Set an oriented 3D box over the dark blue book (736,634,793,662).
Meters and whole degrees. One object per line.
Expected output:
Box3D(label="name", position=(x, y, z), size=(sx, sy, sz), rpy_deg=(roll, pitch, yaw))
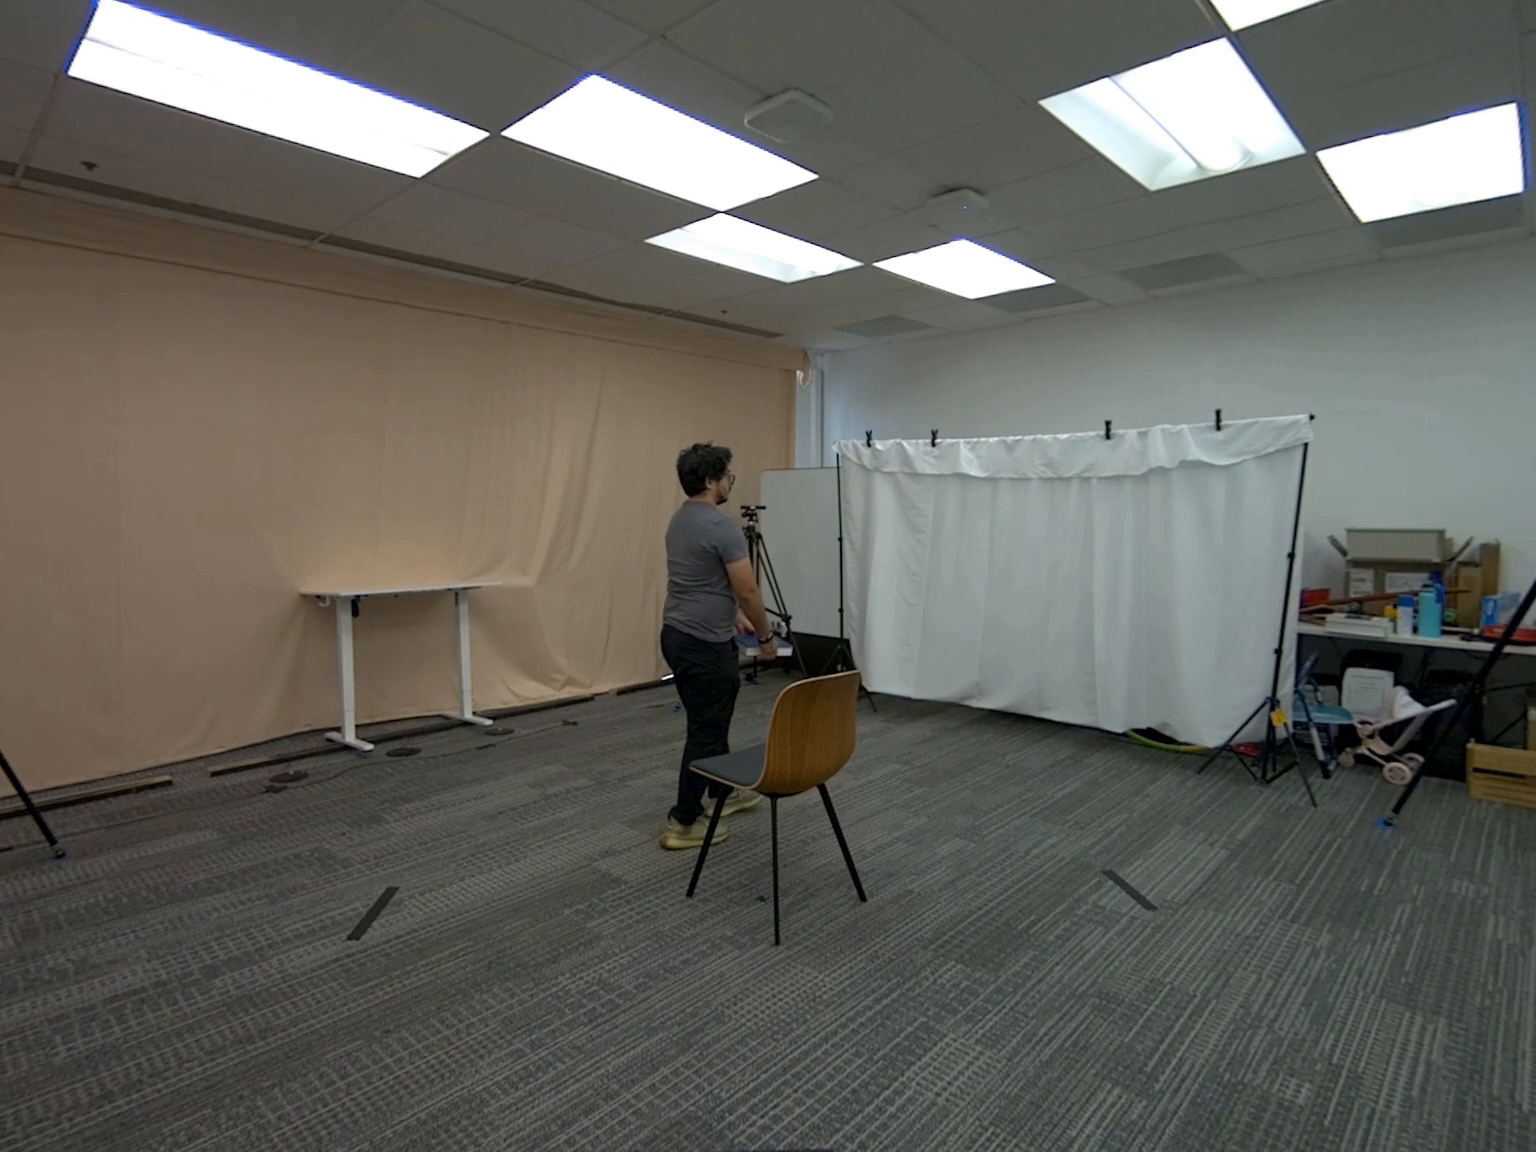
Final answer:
Box3D(label="dark blue book", position=(-0.027, 0.301, 3.683), size=(0.238, 0.045, 0.169), rpy_deg=(2, 14, -32))
